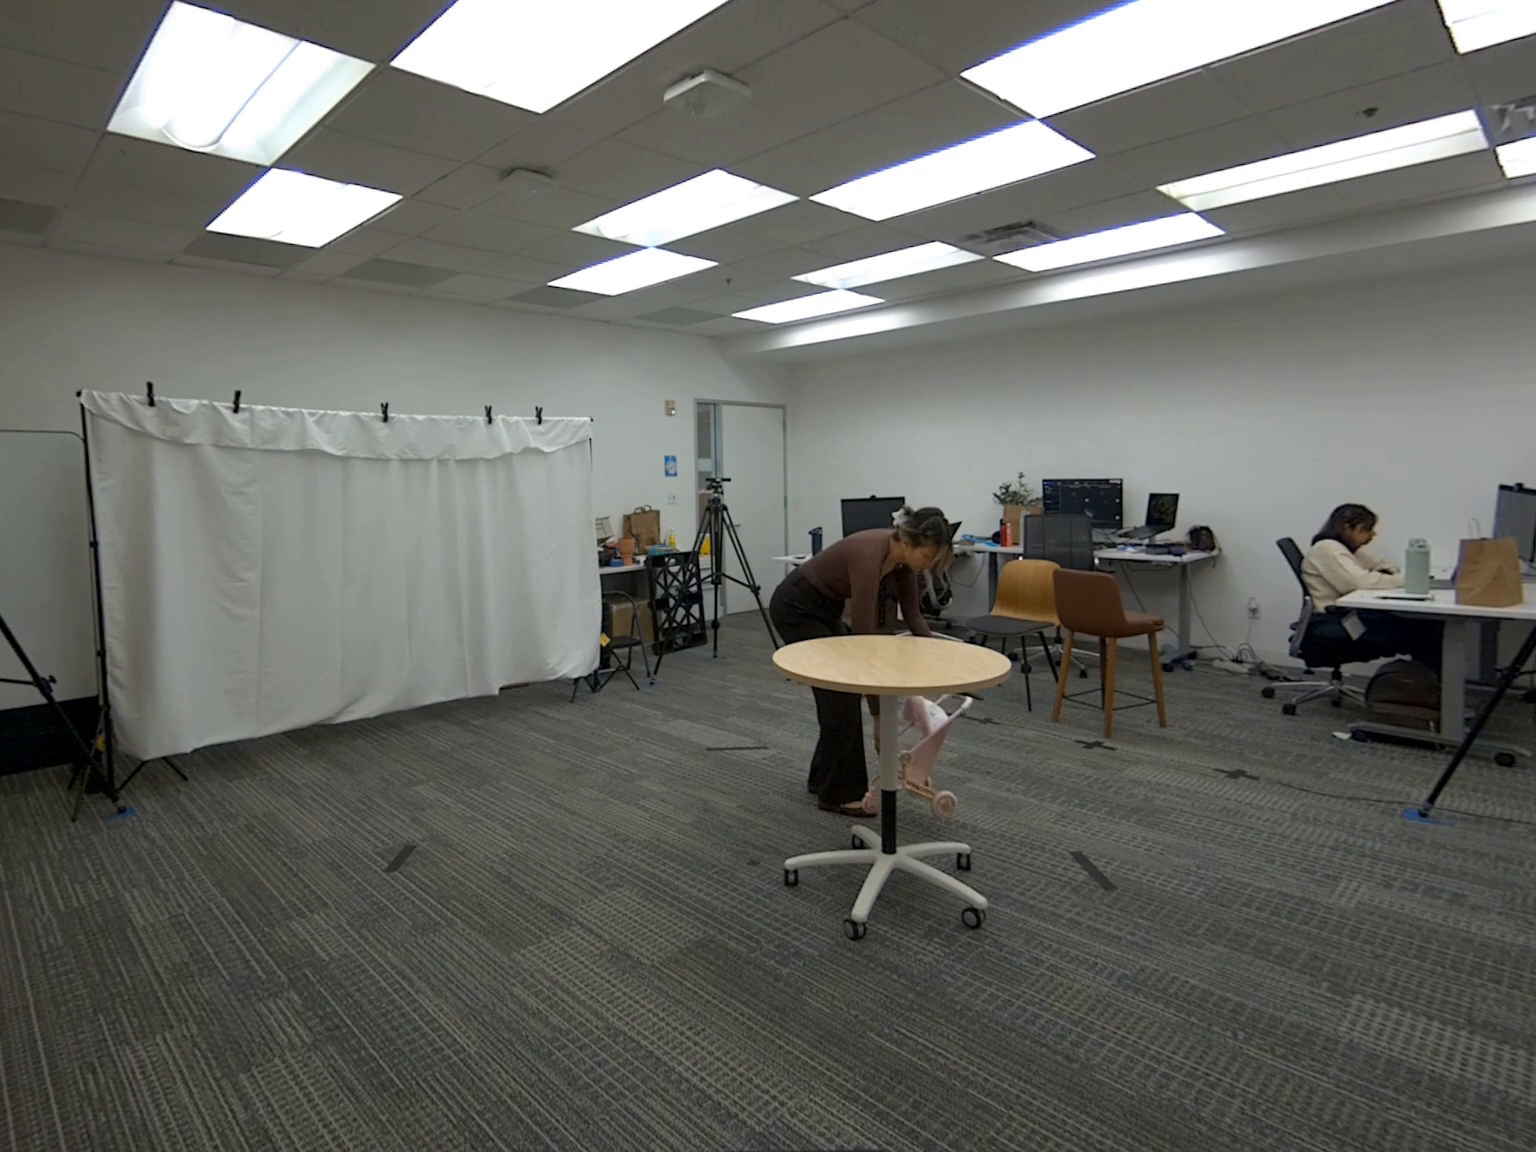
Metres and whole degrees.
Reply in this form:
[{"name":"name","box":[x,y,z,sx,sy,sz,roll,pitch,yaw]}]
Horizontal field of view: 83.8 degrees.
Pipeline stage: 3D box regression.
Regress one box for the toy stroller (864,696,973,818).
[{"name":"toy stroller","box":[0.583,0.696,3.397,0.339,0.535,0.283,12,1,-6]}]
